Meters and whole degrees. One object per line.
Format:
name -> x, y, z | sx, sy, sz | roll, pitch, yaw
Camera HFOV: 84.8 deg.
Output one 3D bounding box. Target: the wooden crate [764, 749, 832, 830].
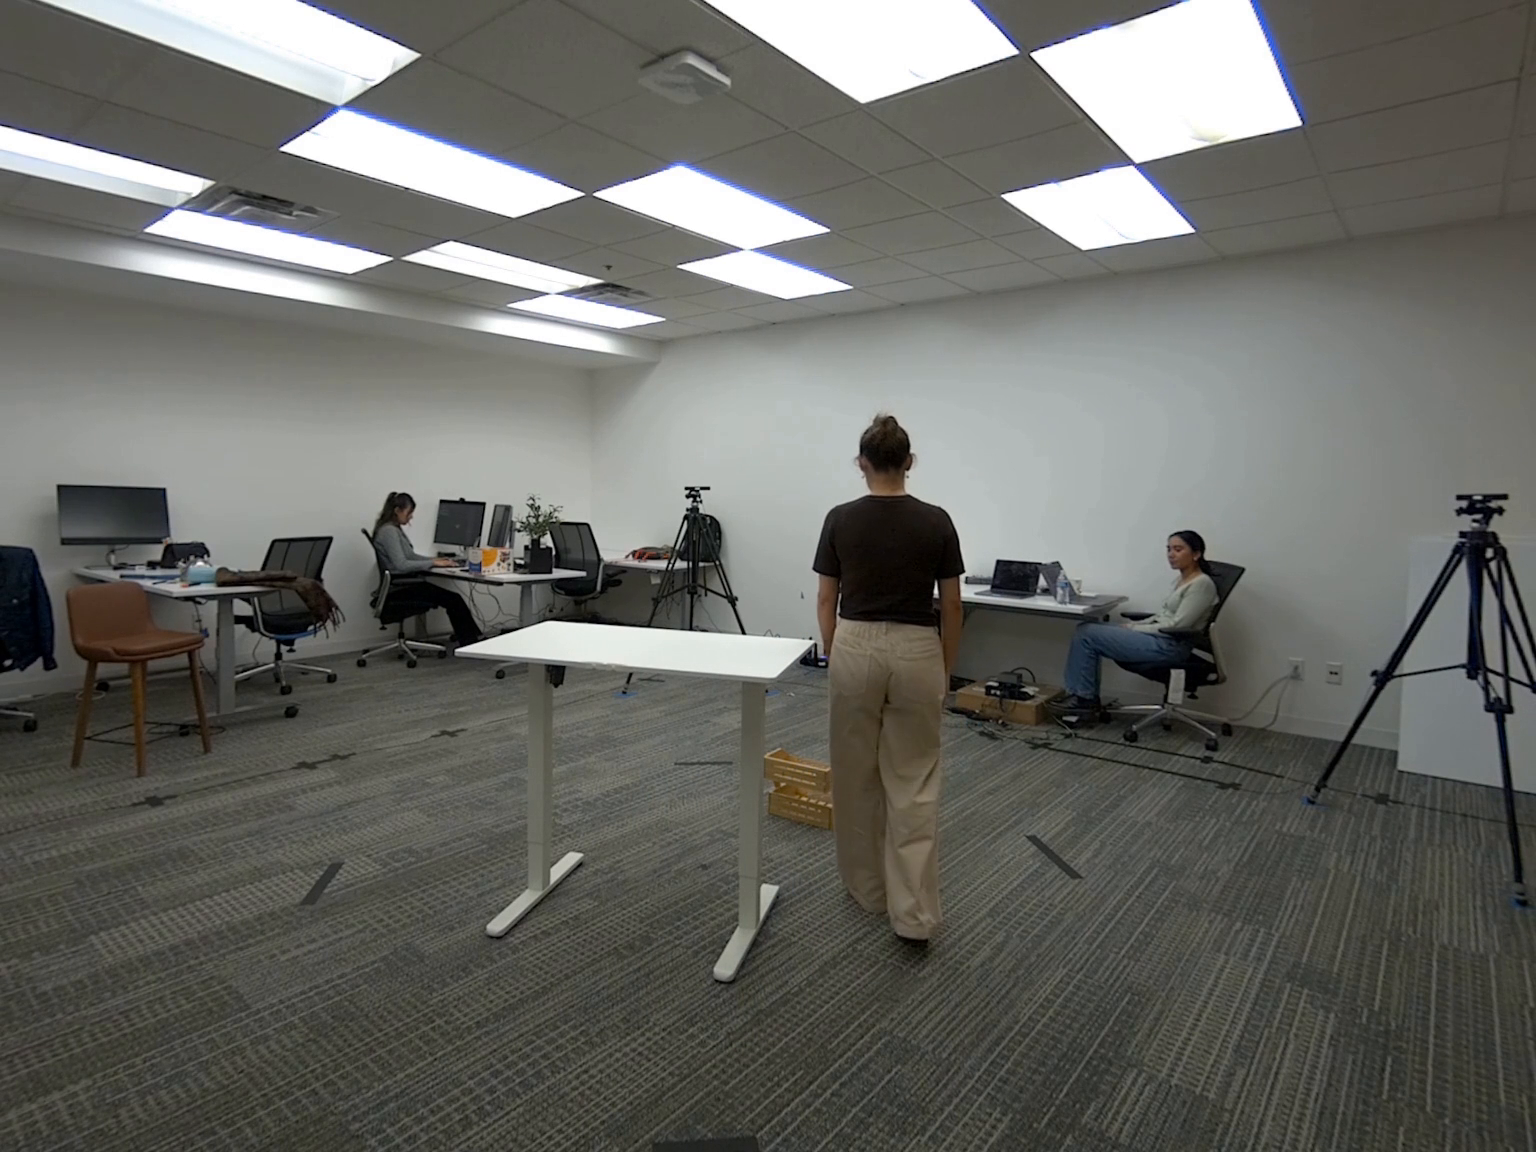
wooden crate -> 0.173, 0.887, 3.644 | 0.334, 0.272, 0.294 | 4, 6, 32
